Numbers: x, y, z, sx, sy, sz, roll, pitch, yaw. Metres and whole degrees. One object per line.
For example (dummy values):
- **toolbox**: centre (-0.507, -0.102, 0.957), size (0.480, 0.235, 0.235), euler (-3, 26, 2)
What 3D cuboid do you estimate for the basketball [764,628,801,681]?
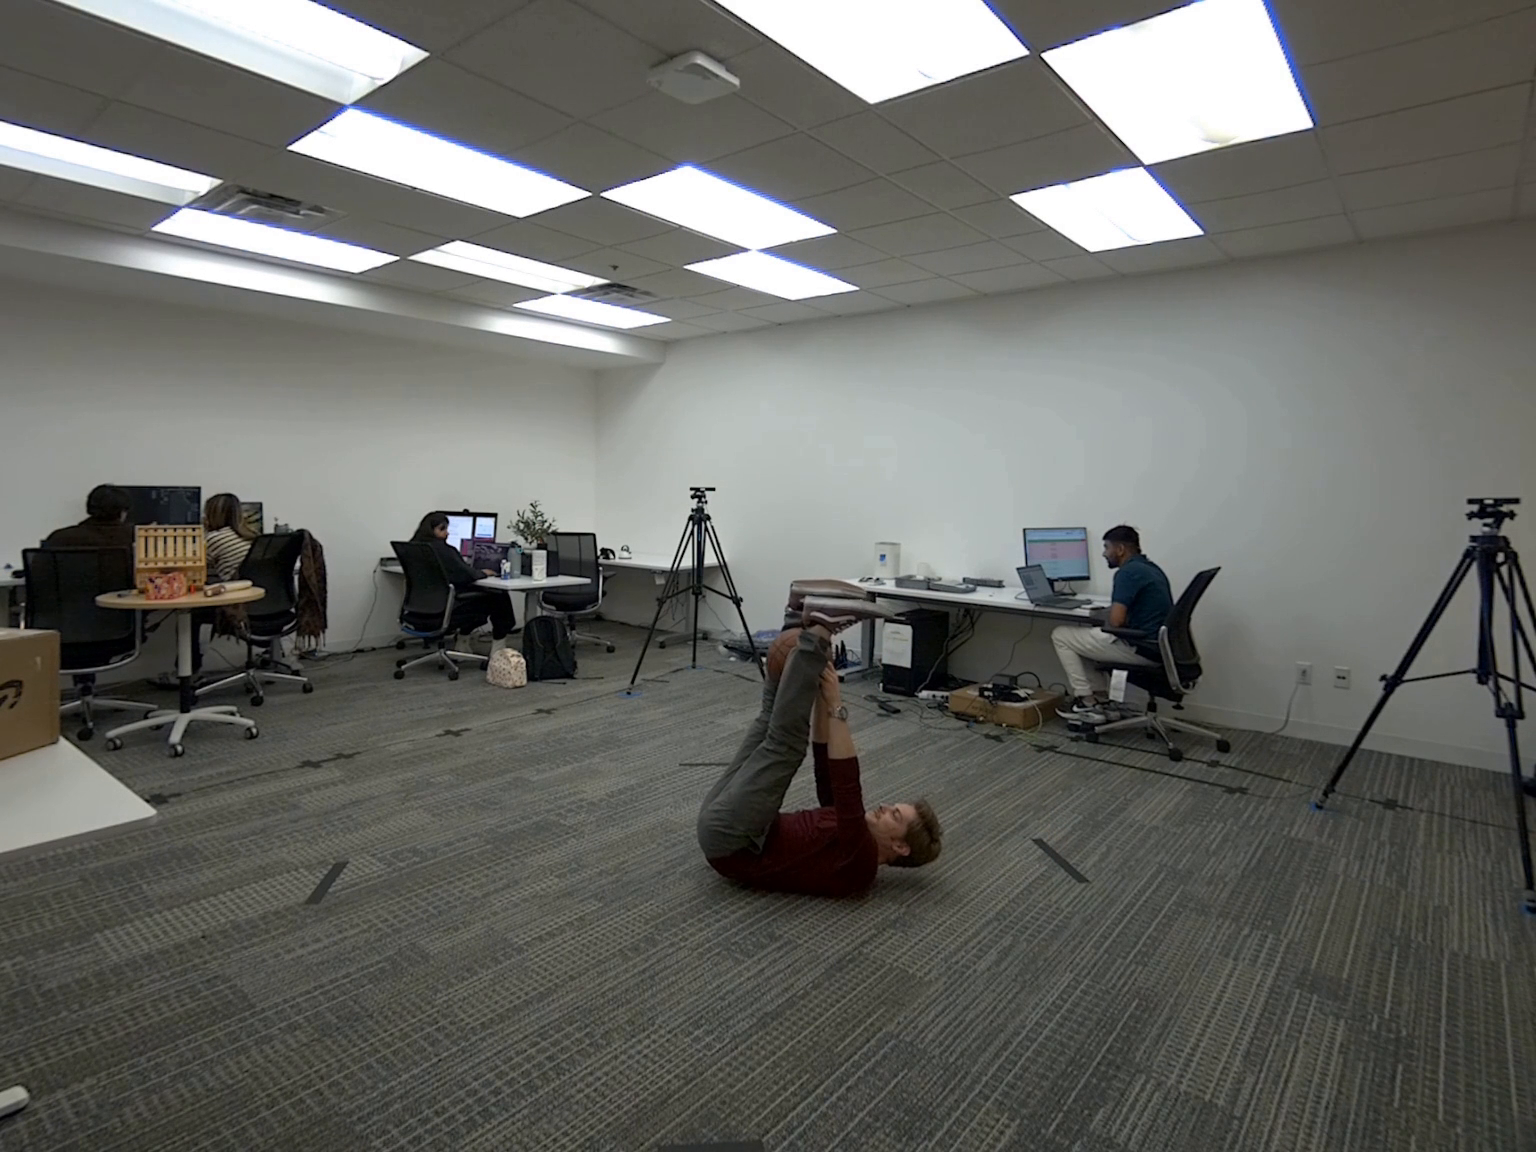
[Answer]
- **basketball**: centre (0.105, 0.295, 2.997), size (0.235, 0.235, 0.237), euler (1, 4, -2)
